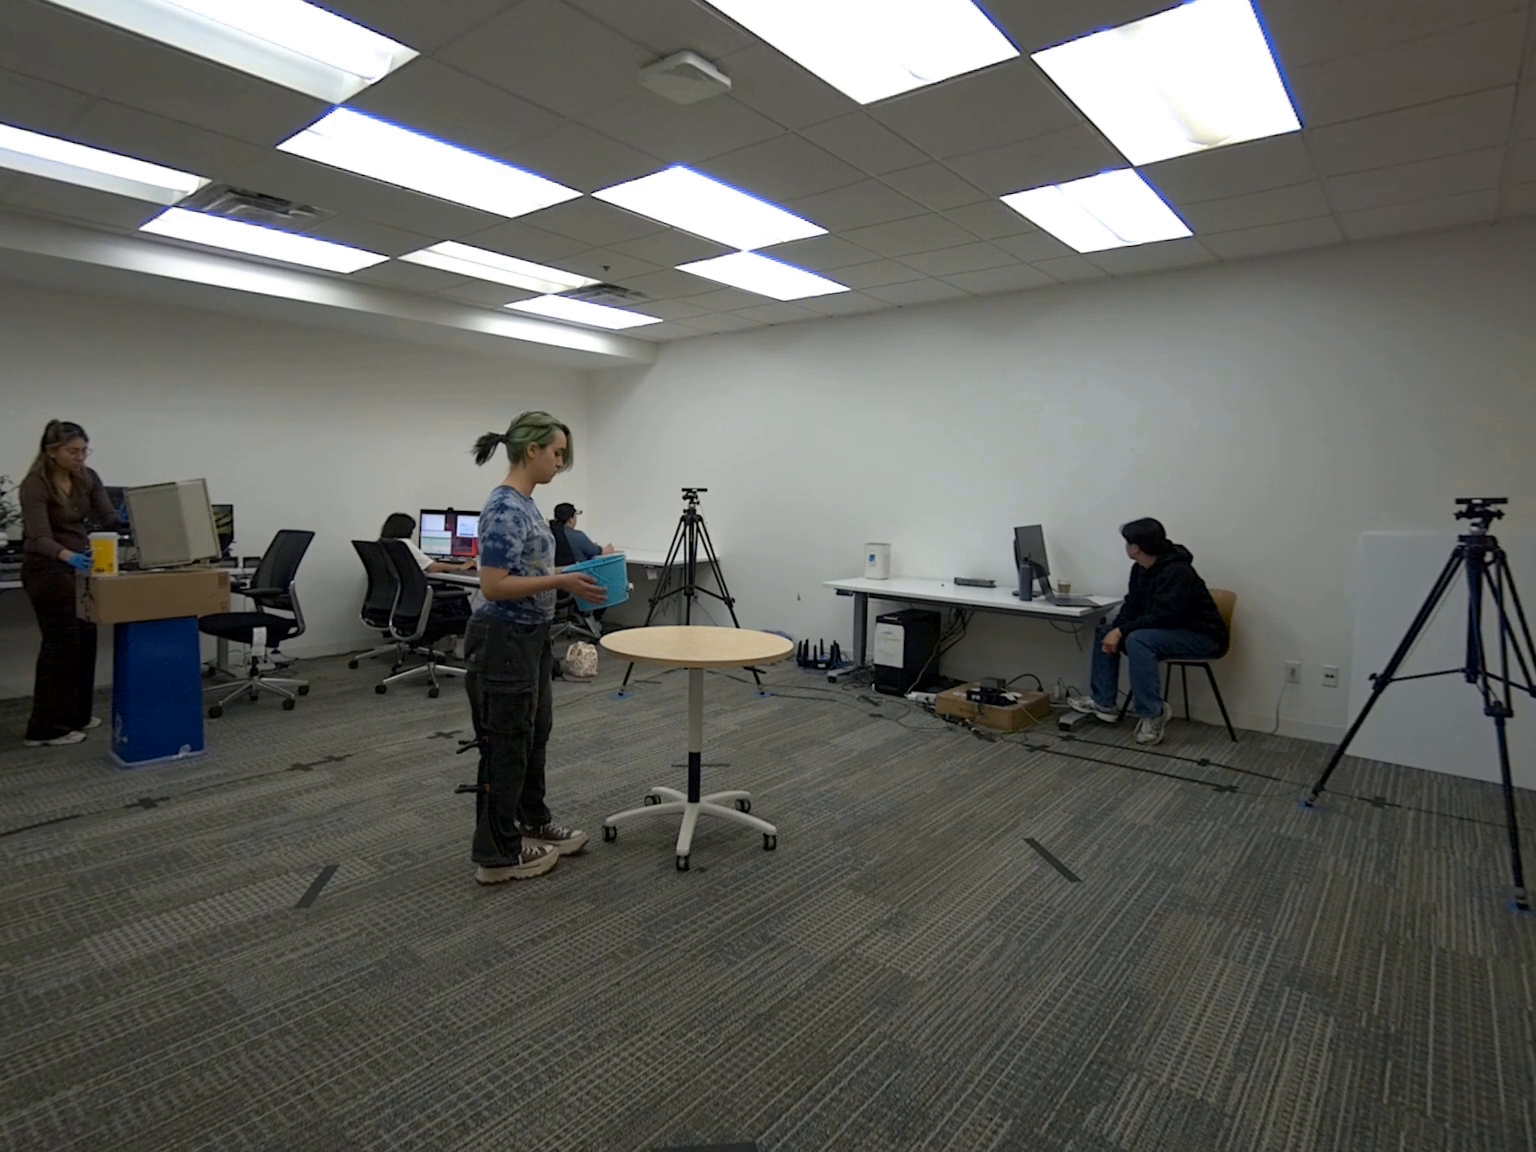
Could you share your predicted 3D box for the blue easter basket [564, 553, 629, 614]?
[{"bbox_3d":[-0.622,0.030,3.020,0.244,0.155,0.245,-13,7,0],"label":"blue easter basket"}]
